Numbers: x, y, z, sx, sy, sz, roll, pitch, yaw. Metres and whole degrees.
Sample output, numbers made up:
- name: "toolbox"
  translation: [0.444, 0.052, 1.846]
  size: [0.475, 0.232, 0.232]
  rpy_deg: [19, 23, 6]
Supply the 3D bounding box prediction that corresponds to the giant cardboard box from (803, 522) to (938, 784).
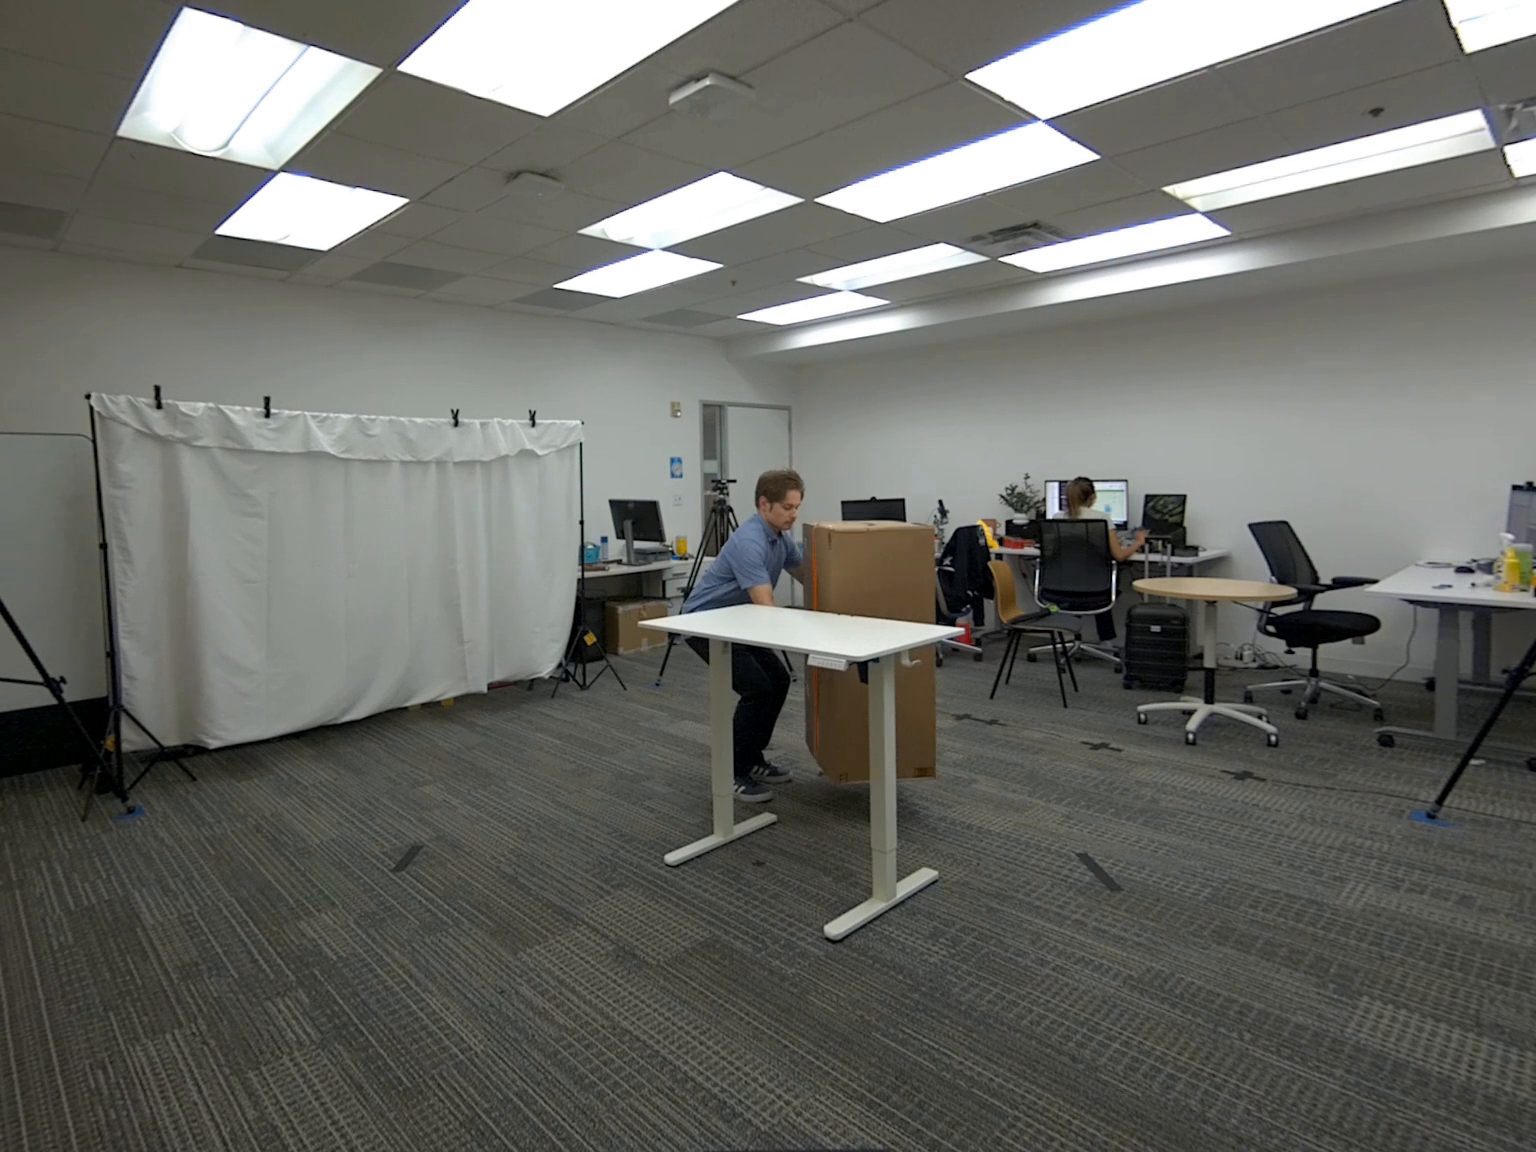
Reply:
- name: "giant cardboard box"
  translation: [0.417, 0.288, 3.655]
  size: [0.423, 1.023, 0.583]
  rpy_deg: [-1, 4, -8]
